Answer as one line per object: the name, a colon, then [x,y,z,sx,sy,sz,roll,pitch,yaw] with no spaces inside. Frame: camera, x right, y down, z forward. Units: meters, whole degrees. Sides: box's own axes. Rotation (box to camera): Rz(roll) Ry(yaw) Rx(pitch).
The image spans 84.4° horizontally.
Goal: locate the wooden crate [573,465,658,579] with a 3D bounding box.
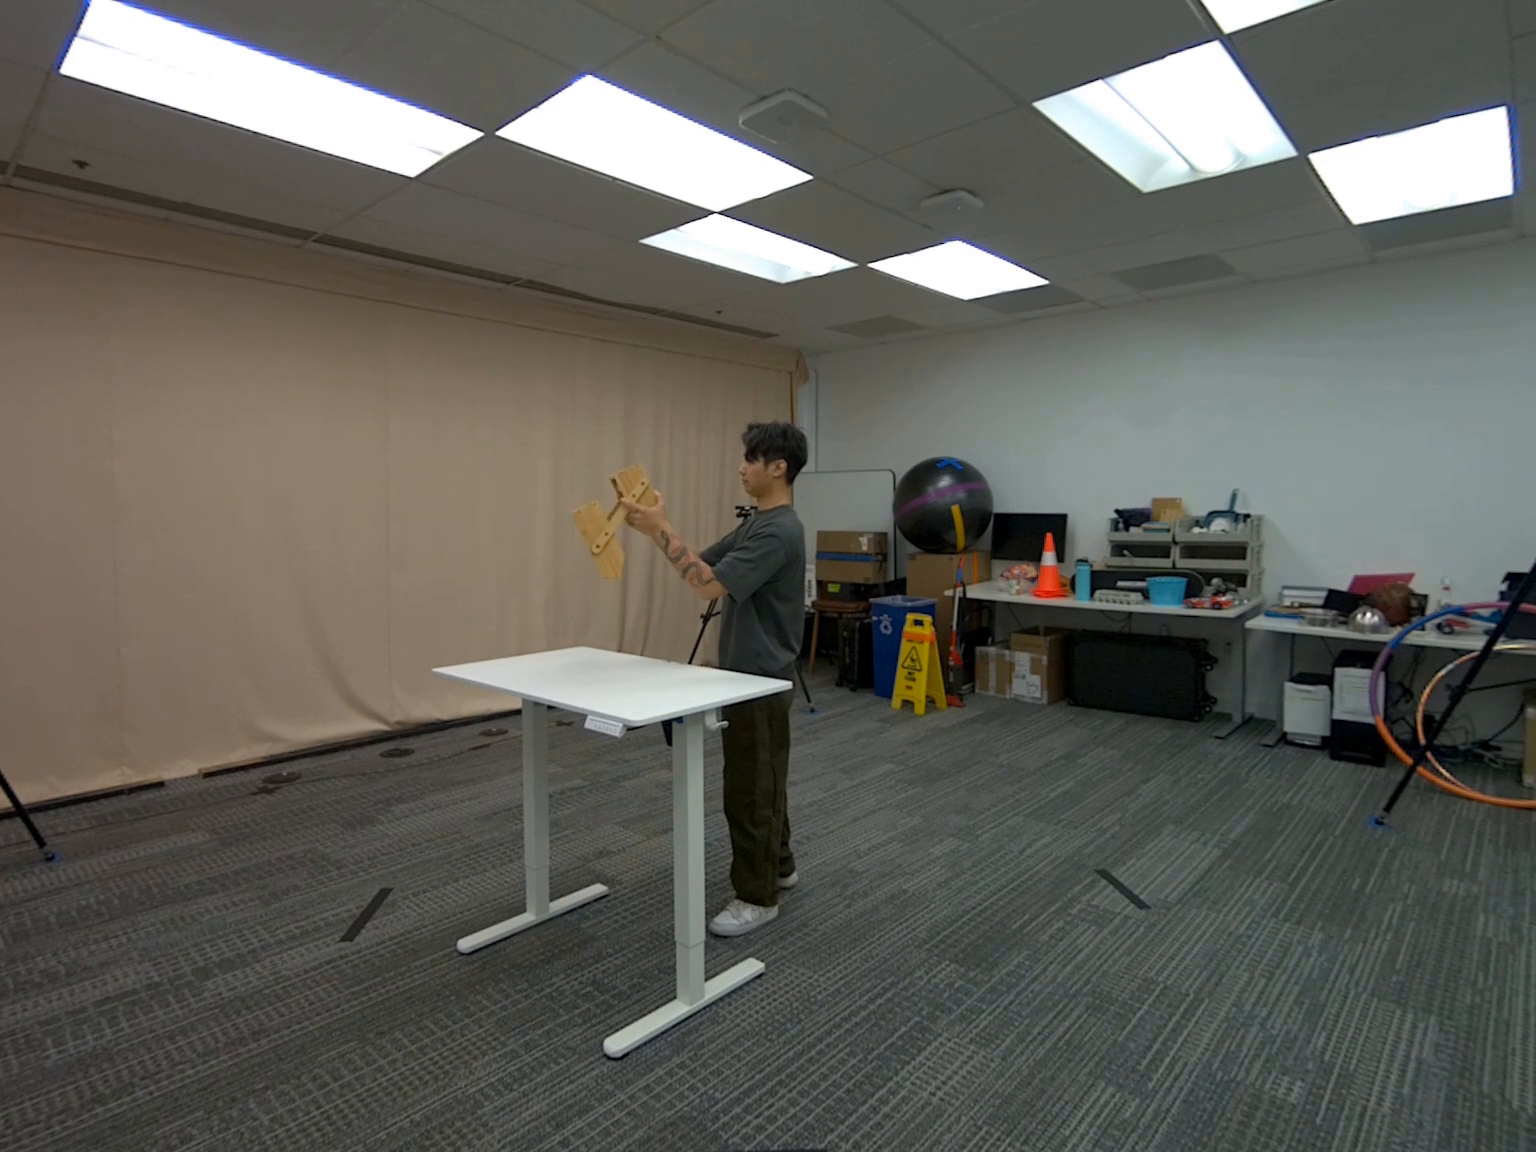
wooden crate: [-0.469,-0.169,2.758,0.272,0.300,0.328,-27,7,-9]
